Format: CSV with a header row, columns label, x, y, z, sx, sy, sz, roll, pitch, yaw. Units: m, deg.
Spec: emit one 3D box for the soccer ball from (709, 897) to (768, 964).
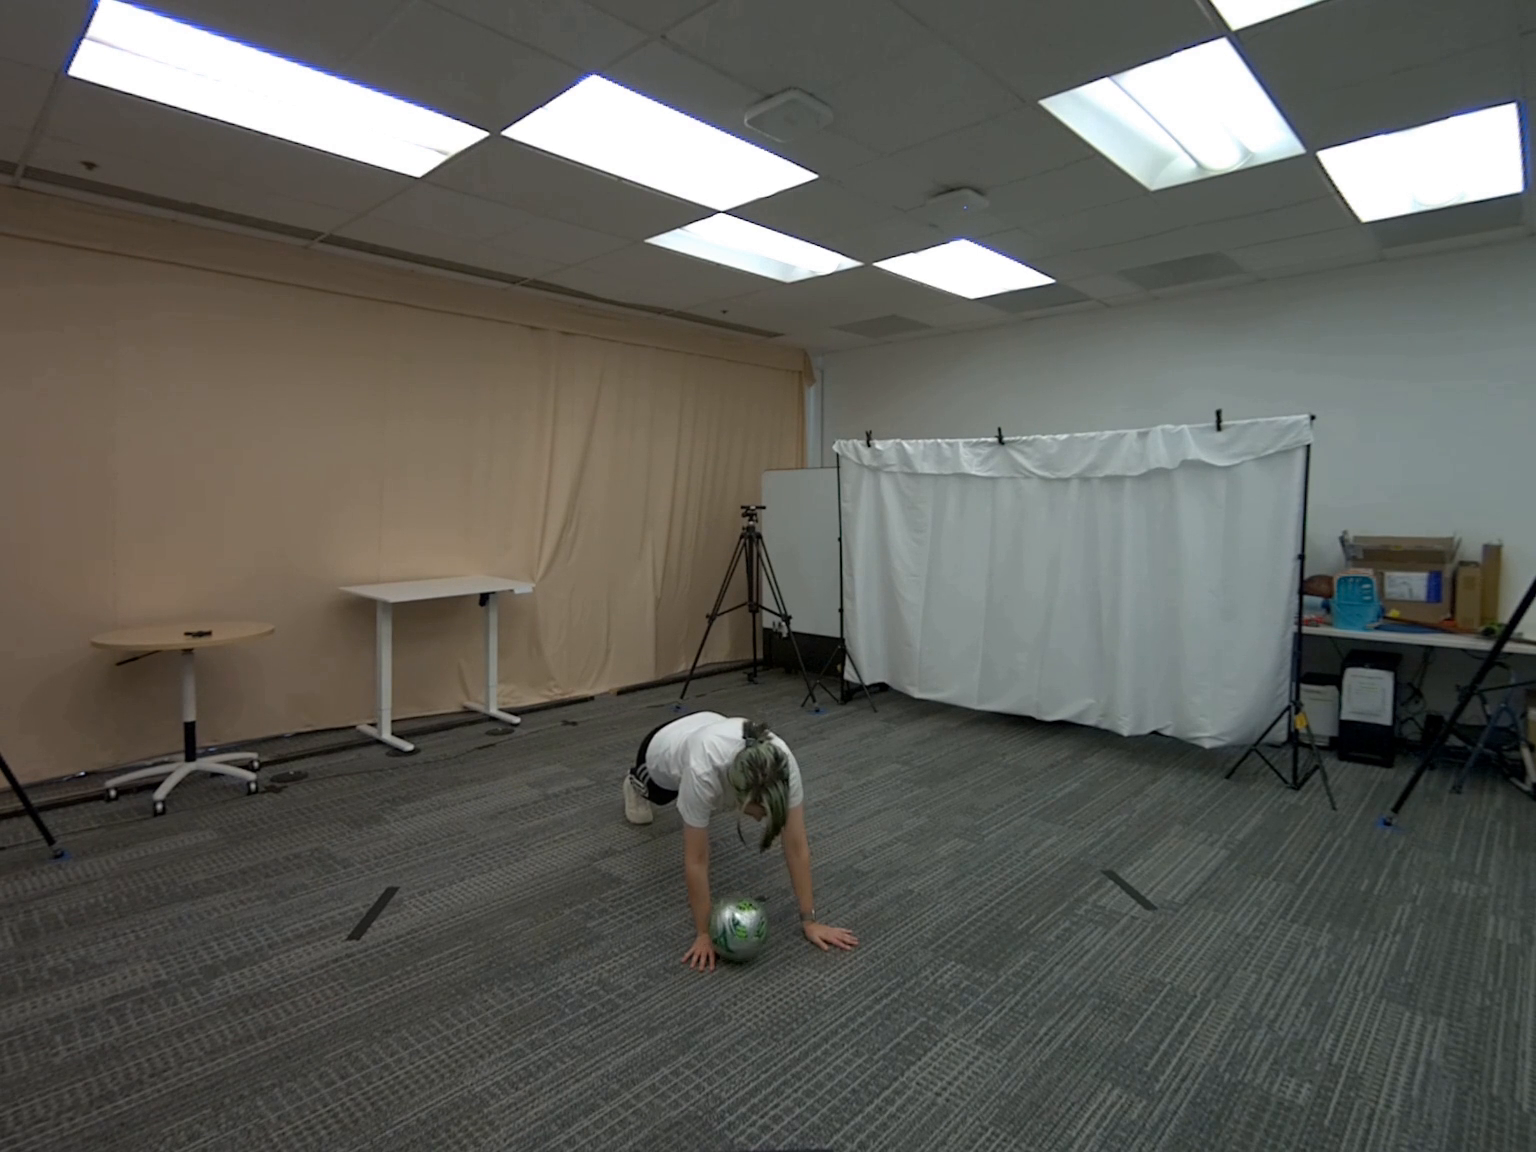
label,x,y,z,sx,sy,sz,roll,pitch,yaw
soccer ball,-0.081,1.082,2.578,0.187,0.187,0.188,0,4,-2
